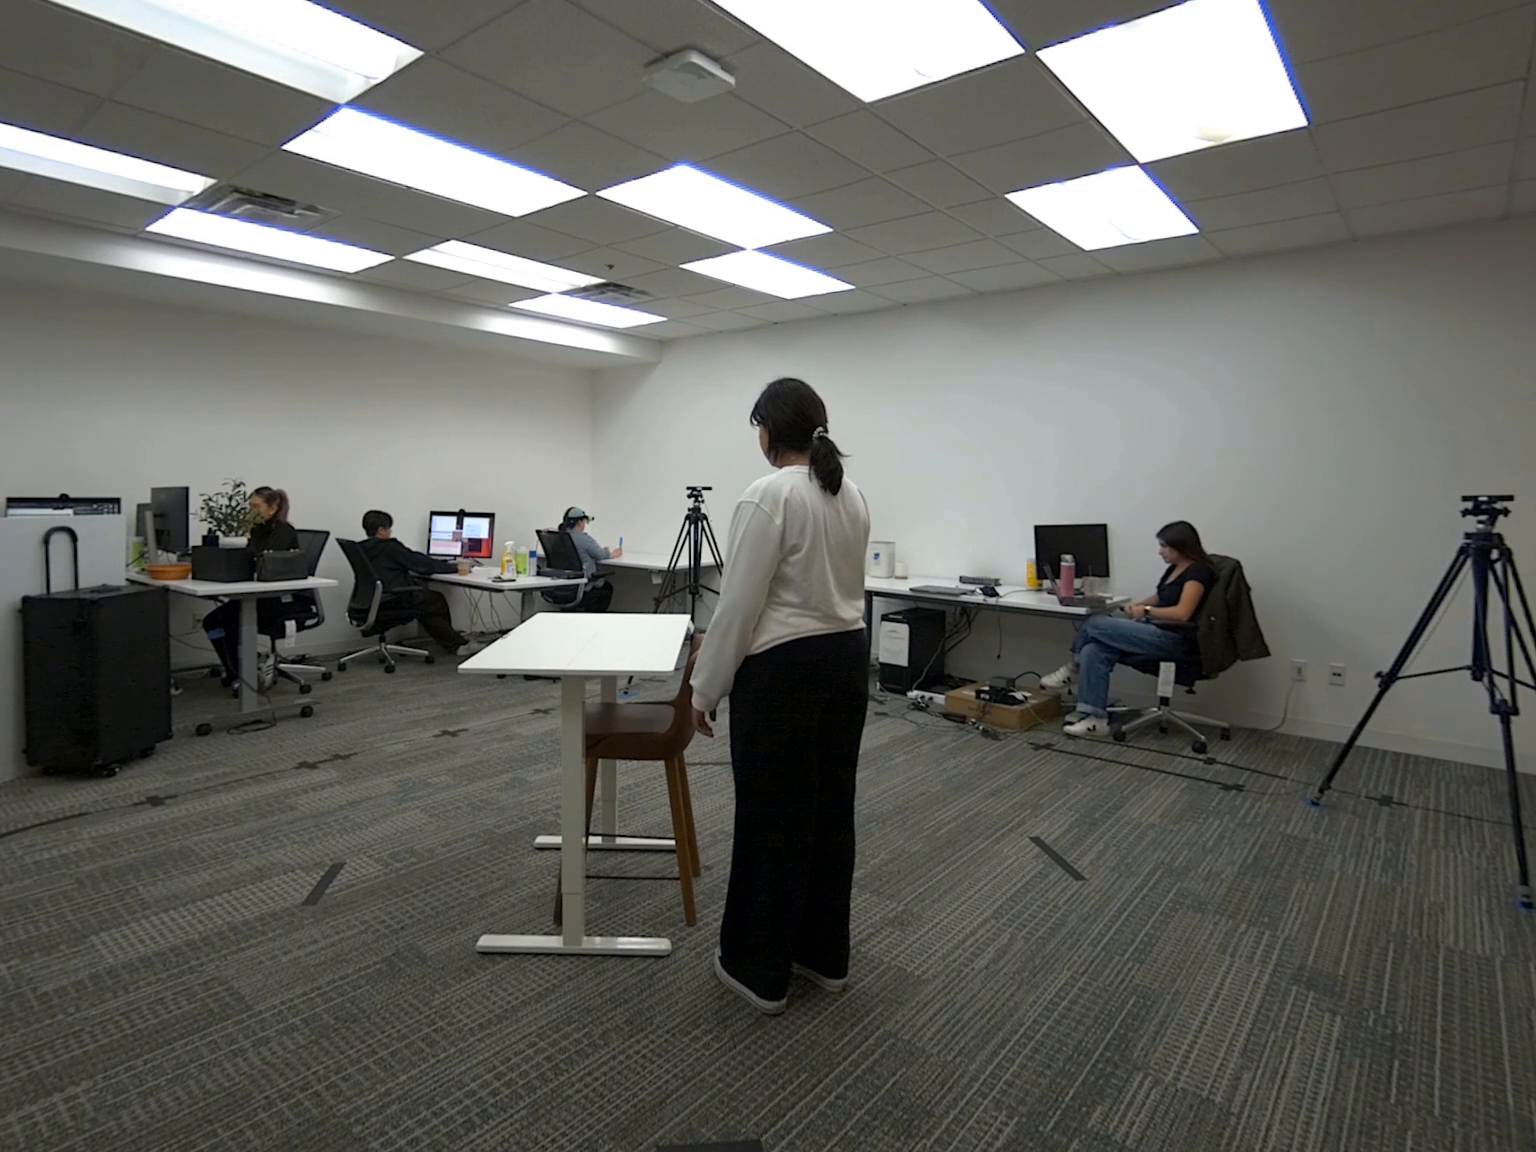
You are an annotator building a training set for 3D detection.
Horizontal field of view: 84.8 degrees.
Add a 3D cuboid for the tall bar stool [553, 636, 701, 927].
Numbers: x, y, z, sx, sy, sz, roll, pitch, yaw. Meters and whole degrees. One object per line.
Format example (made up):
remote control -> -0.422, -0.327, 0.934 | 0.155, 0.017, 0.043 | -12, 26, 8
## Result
tall bar stool -> -0.448, 0.656, 2.849 | 0.468, 0.887, 0.457 | 2, 4, 1
